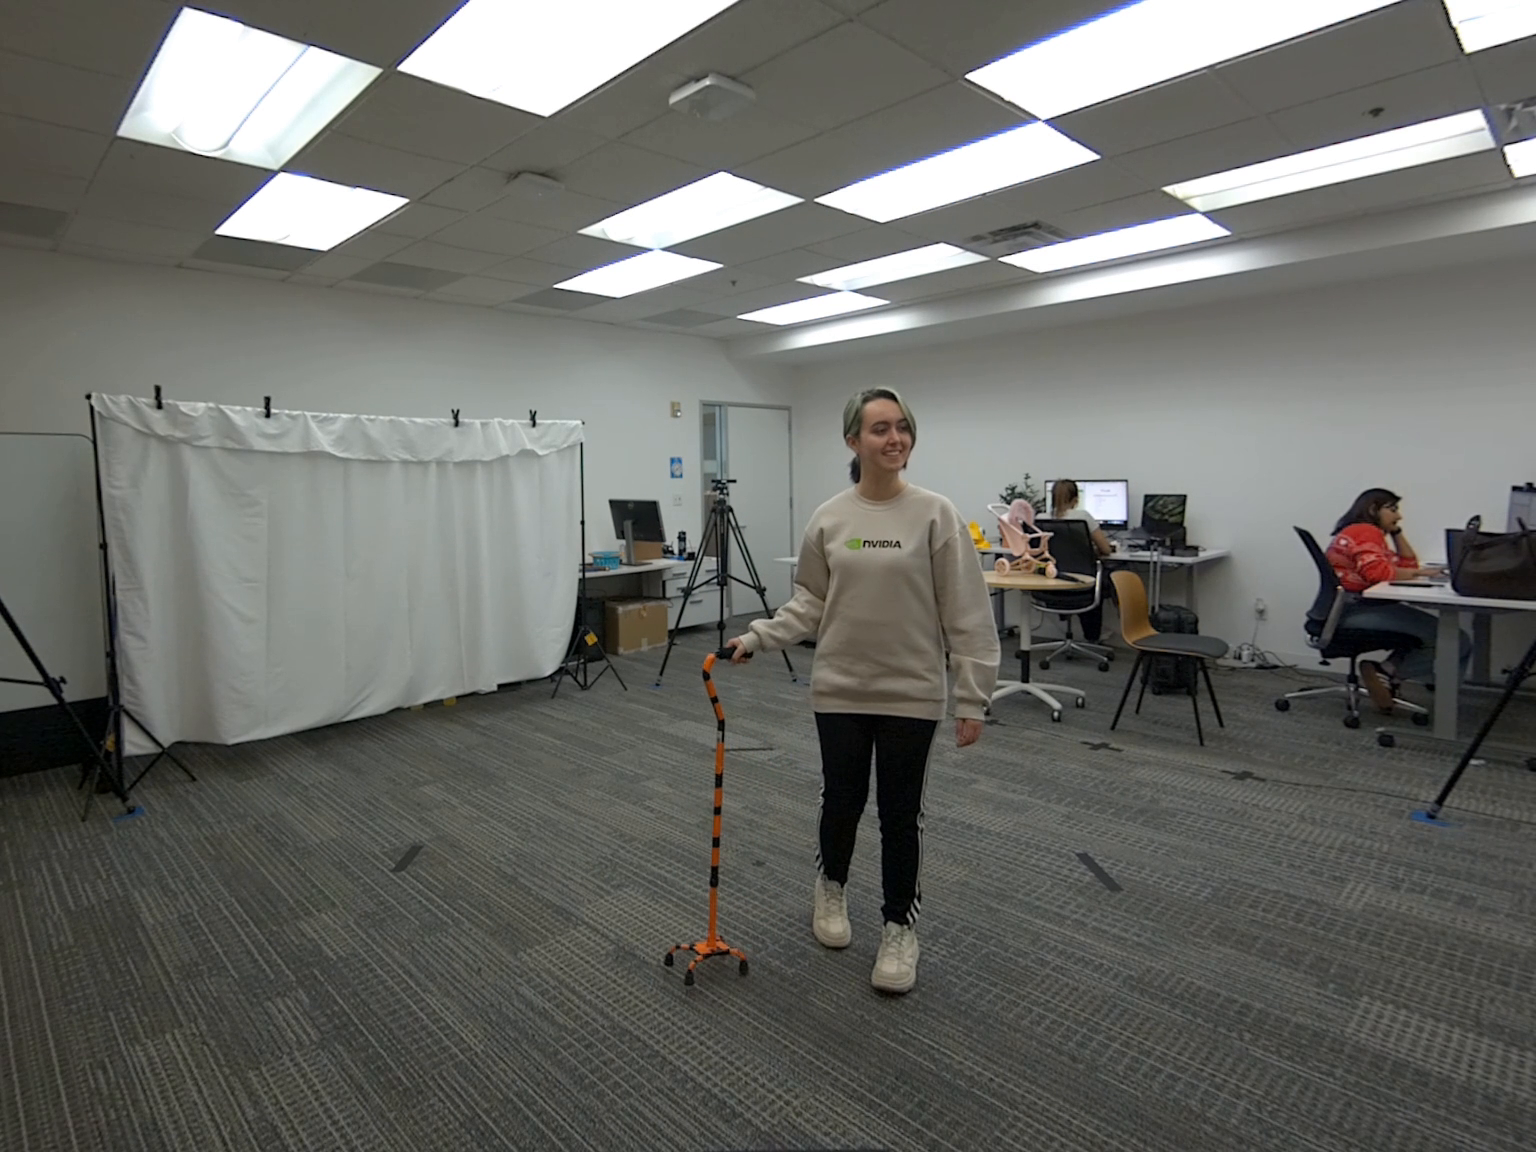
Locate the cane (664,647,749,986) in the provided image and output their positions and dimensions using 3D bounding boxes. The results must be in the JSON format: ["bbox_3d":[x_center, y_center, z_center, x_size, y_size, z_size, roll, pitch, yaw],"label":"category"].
[{"bbox_3d":[-0.149,0.659,2.446,0.200,0.910,0.156,3,-3,-38],"label":"cane"}]
